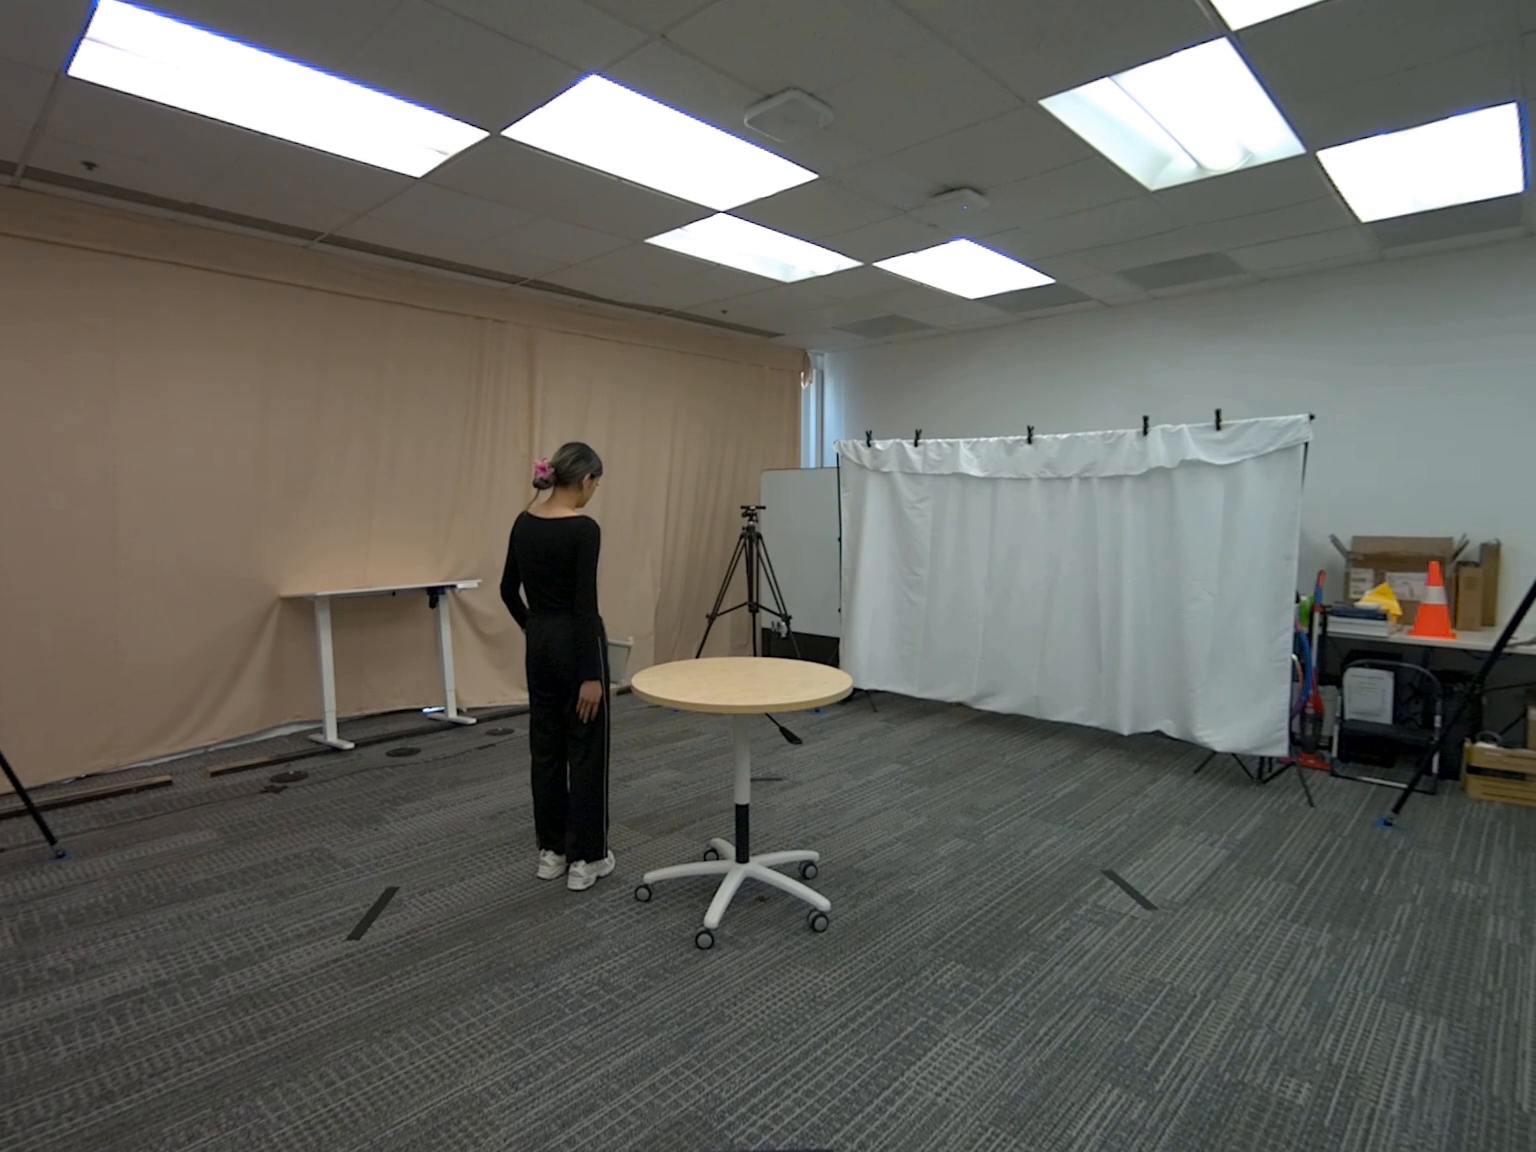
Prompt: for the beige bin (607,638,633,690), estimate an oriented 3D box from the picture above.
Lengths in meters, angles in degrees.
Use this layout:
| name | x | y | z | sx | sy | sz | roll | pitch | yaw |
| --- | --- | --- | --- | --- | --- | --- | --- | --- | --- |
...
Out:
| name | x | y | z | sx | sy | sz | roll | pitch | yaw |
| --- | --- | --- | --- | --- | --- | --- | --- | --- | --- |
| beige bin | -0.798 | 0.323 | 3.595 | 0.418 | 0.189 | 0.381 | 11 | 2 | -8 |
